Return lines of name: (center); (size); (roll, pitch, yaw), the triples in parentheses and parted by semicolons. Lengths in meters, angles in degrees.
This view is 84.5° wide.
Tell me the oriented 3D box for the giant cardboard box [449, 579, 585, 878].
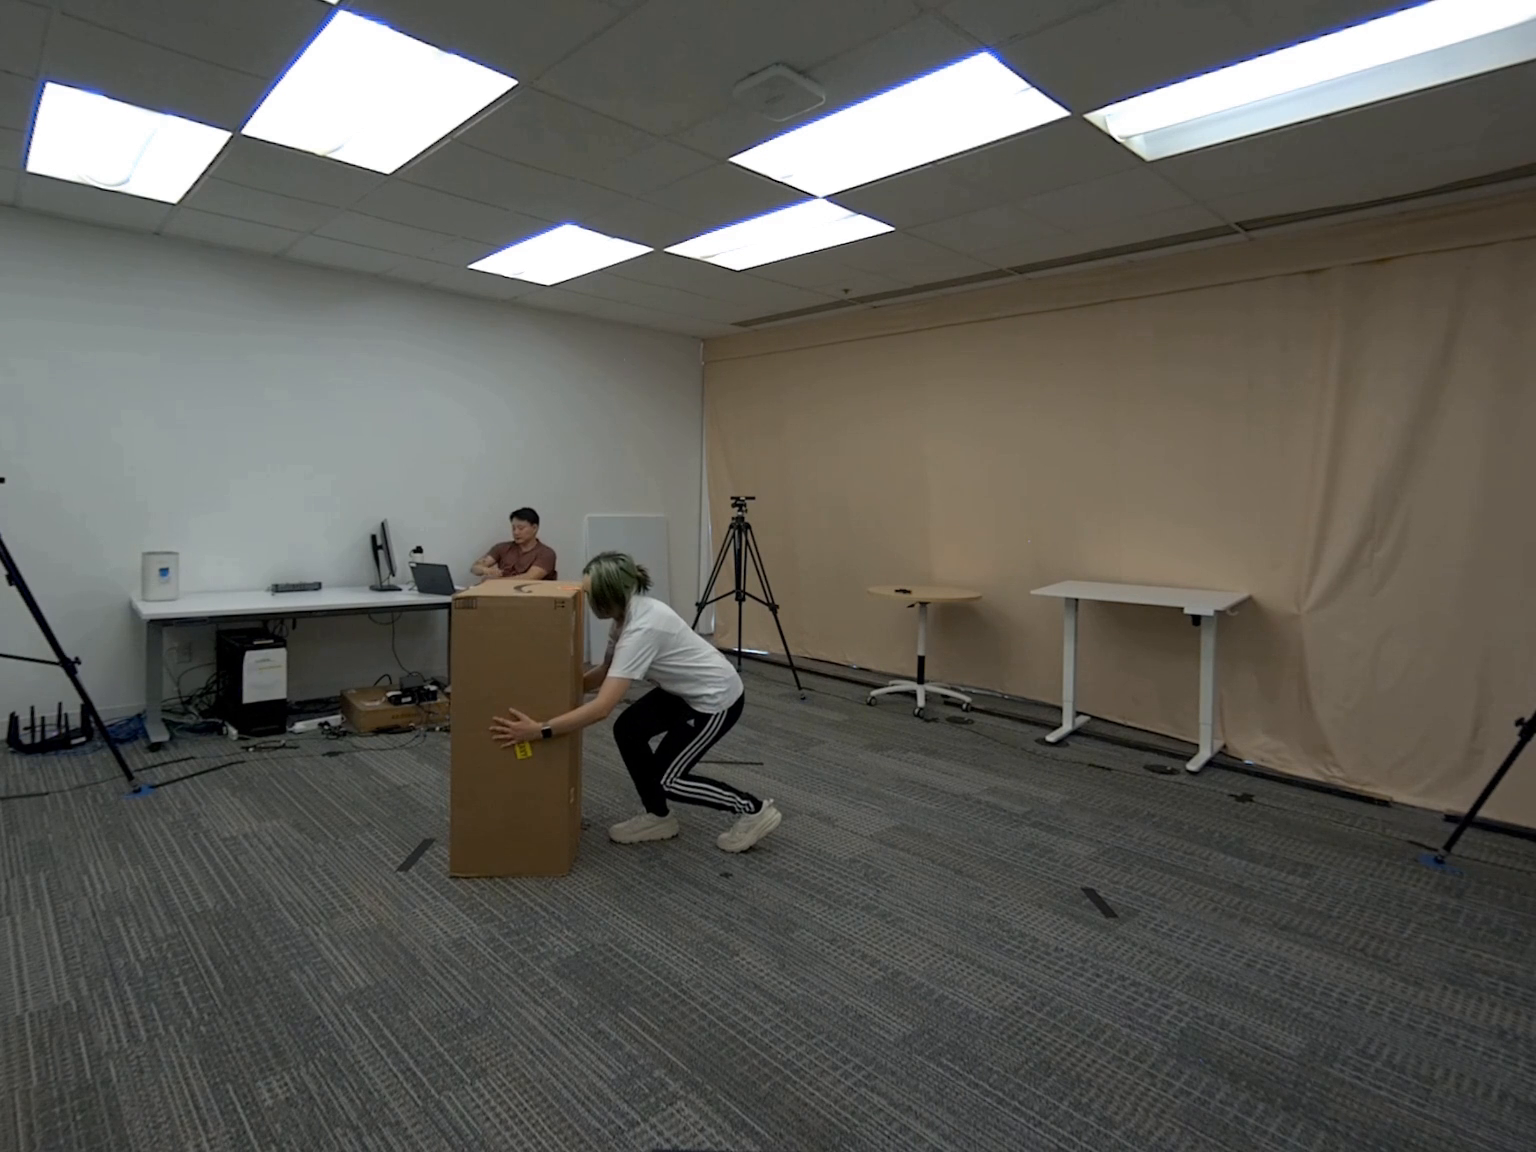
giant cardboard box: (-0.969, 0.561, 3.305); (0.445, 1.025, 0.588); (0, 3, -7)
